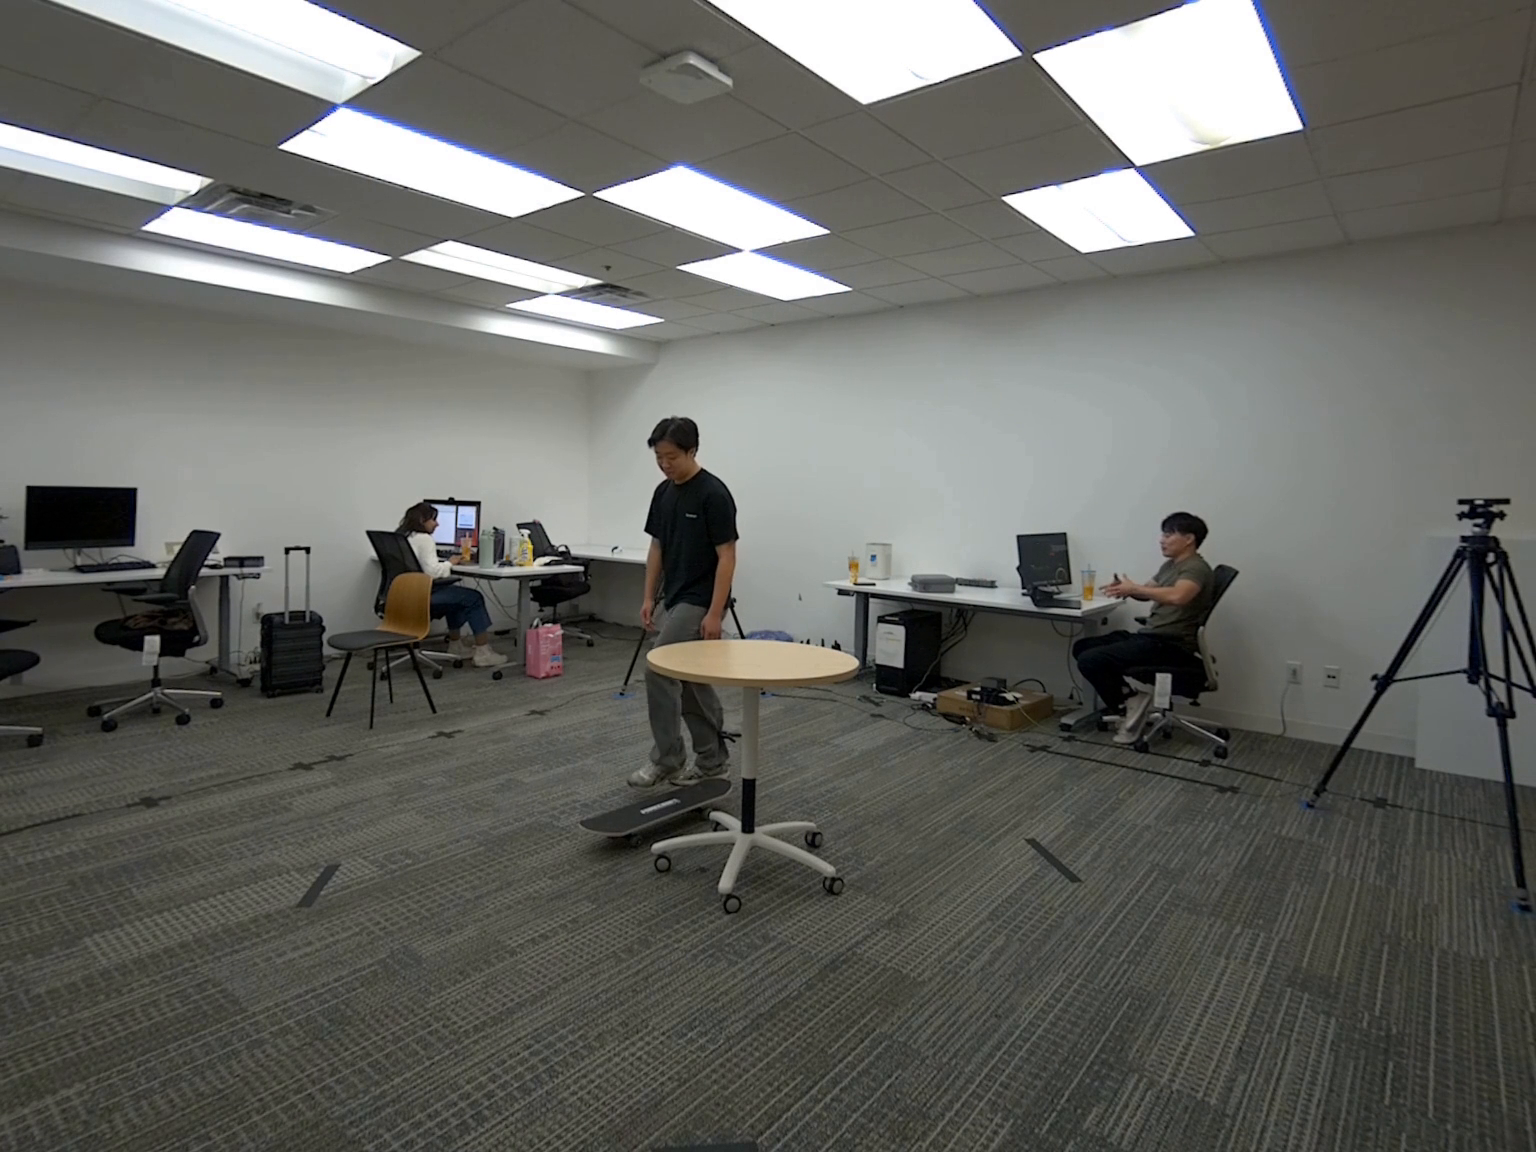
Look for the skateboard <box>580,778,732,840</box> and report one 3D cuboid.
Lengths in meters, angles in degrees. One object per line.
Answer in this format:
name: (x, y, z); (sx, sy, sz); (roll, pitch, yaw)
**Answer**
skateboard: (-0.445, 0.982, 3.496); (0.200, 0.110, 0.762); (7, 8, 42)
